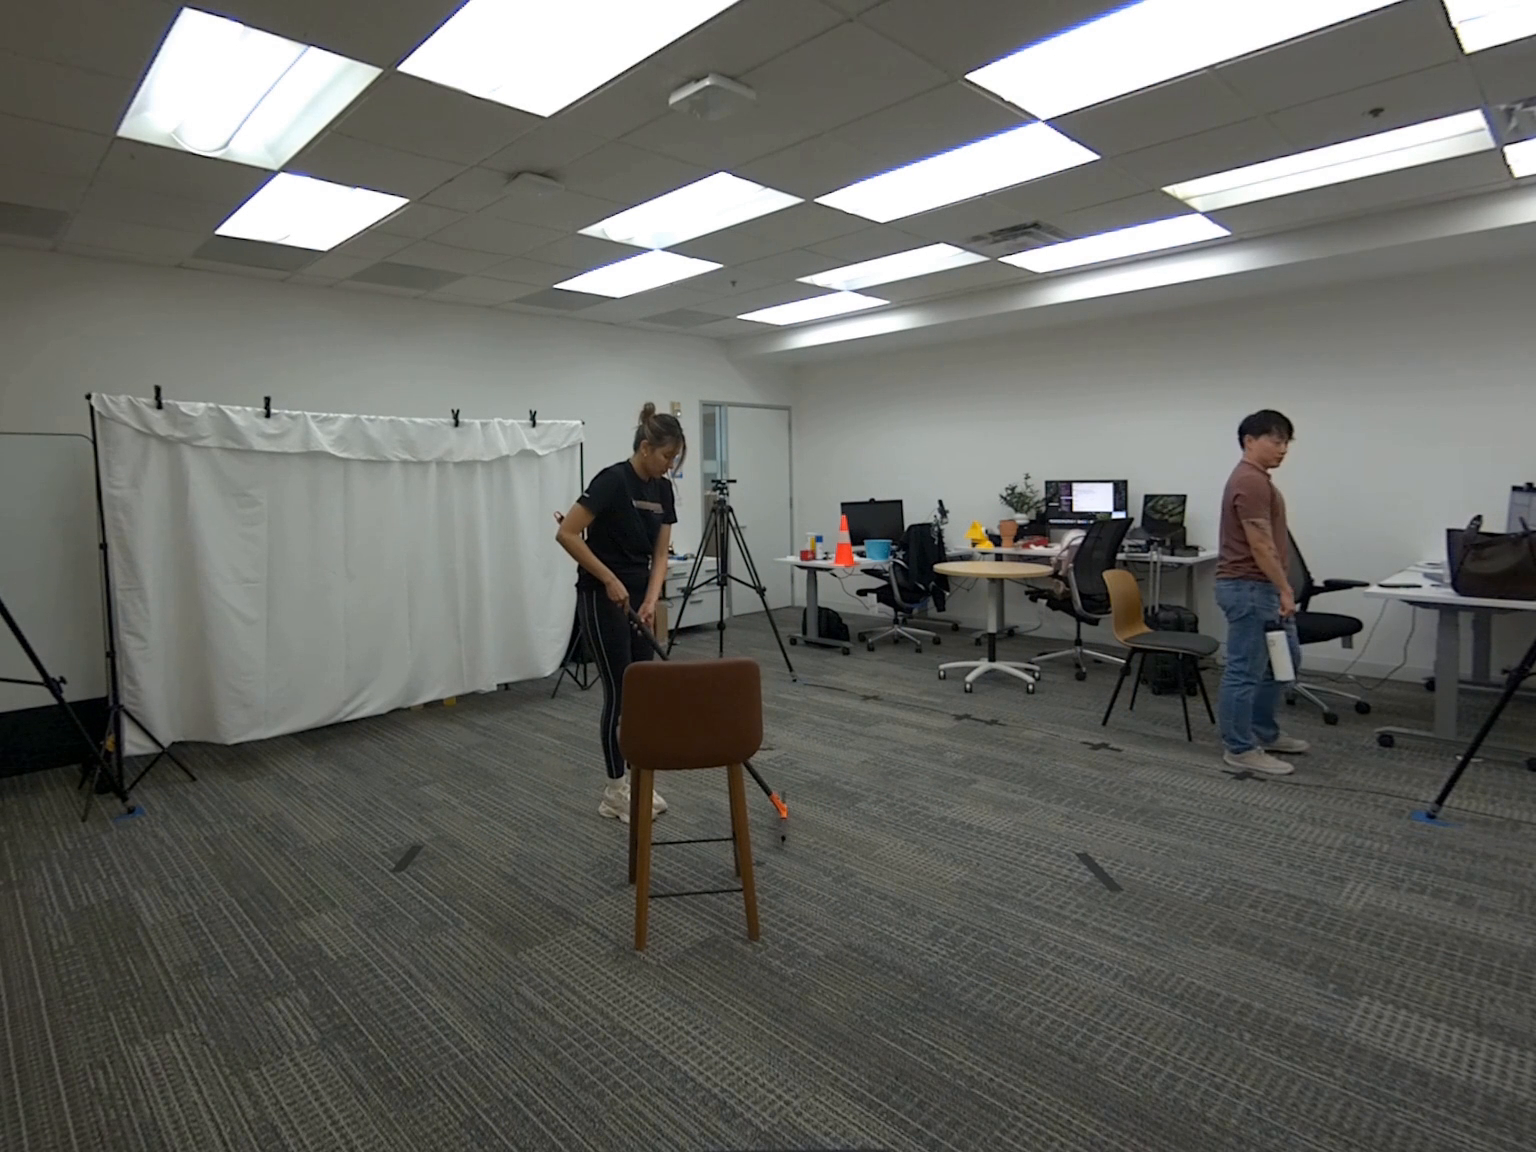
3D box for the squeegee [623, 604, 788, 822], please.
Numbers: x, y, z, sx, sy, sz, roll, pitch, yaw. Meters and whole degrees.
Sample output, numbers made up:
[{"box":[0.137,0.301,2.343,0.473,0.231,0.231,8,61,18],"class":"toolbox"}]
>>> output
[{"box":[-0.360,0.358,3.409,0.053,1.535,0.438,-37,1,3],"class":"squeegee"}]
